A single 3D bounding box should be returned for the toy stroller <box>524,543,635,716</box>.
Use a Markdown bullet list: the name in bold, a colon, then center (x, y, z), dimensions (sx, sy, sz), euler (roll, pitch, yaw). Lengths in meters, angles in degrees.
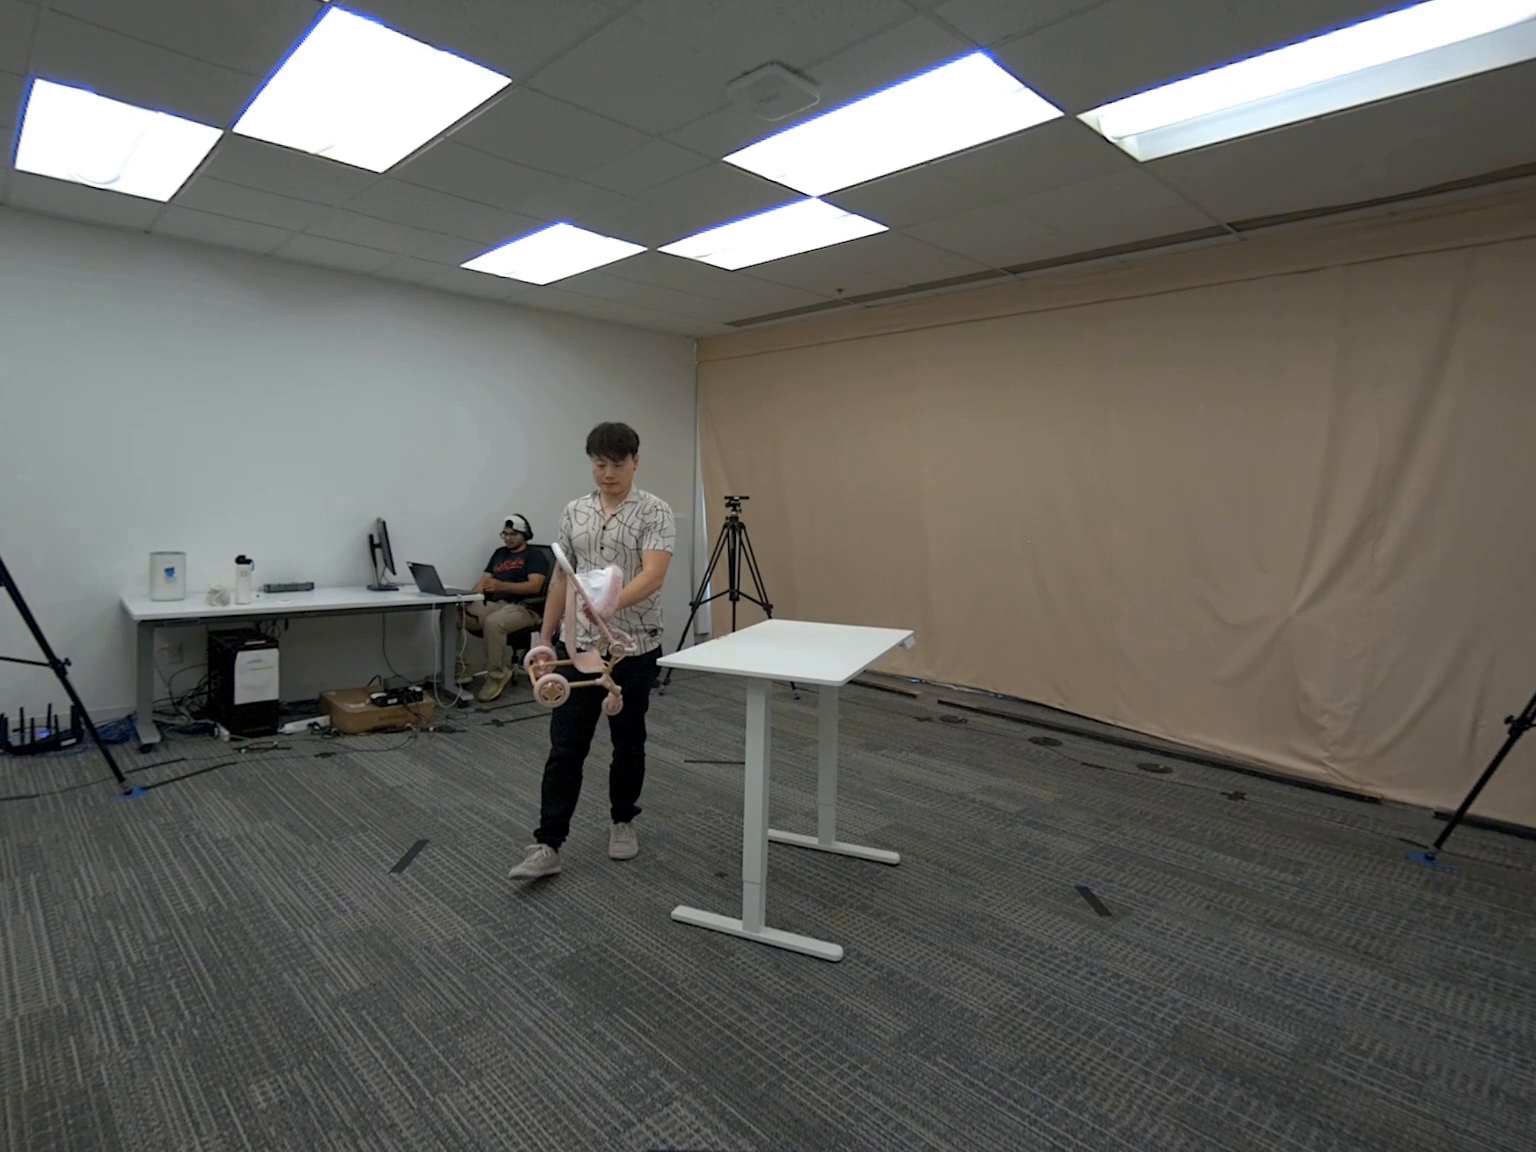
- **toy stroller**: center (-0.571, 0.191, 2.716), dimensions (0.335, 0.532, 0.287), euler (10, 9, -20)
